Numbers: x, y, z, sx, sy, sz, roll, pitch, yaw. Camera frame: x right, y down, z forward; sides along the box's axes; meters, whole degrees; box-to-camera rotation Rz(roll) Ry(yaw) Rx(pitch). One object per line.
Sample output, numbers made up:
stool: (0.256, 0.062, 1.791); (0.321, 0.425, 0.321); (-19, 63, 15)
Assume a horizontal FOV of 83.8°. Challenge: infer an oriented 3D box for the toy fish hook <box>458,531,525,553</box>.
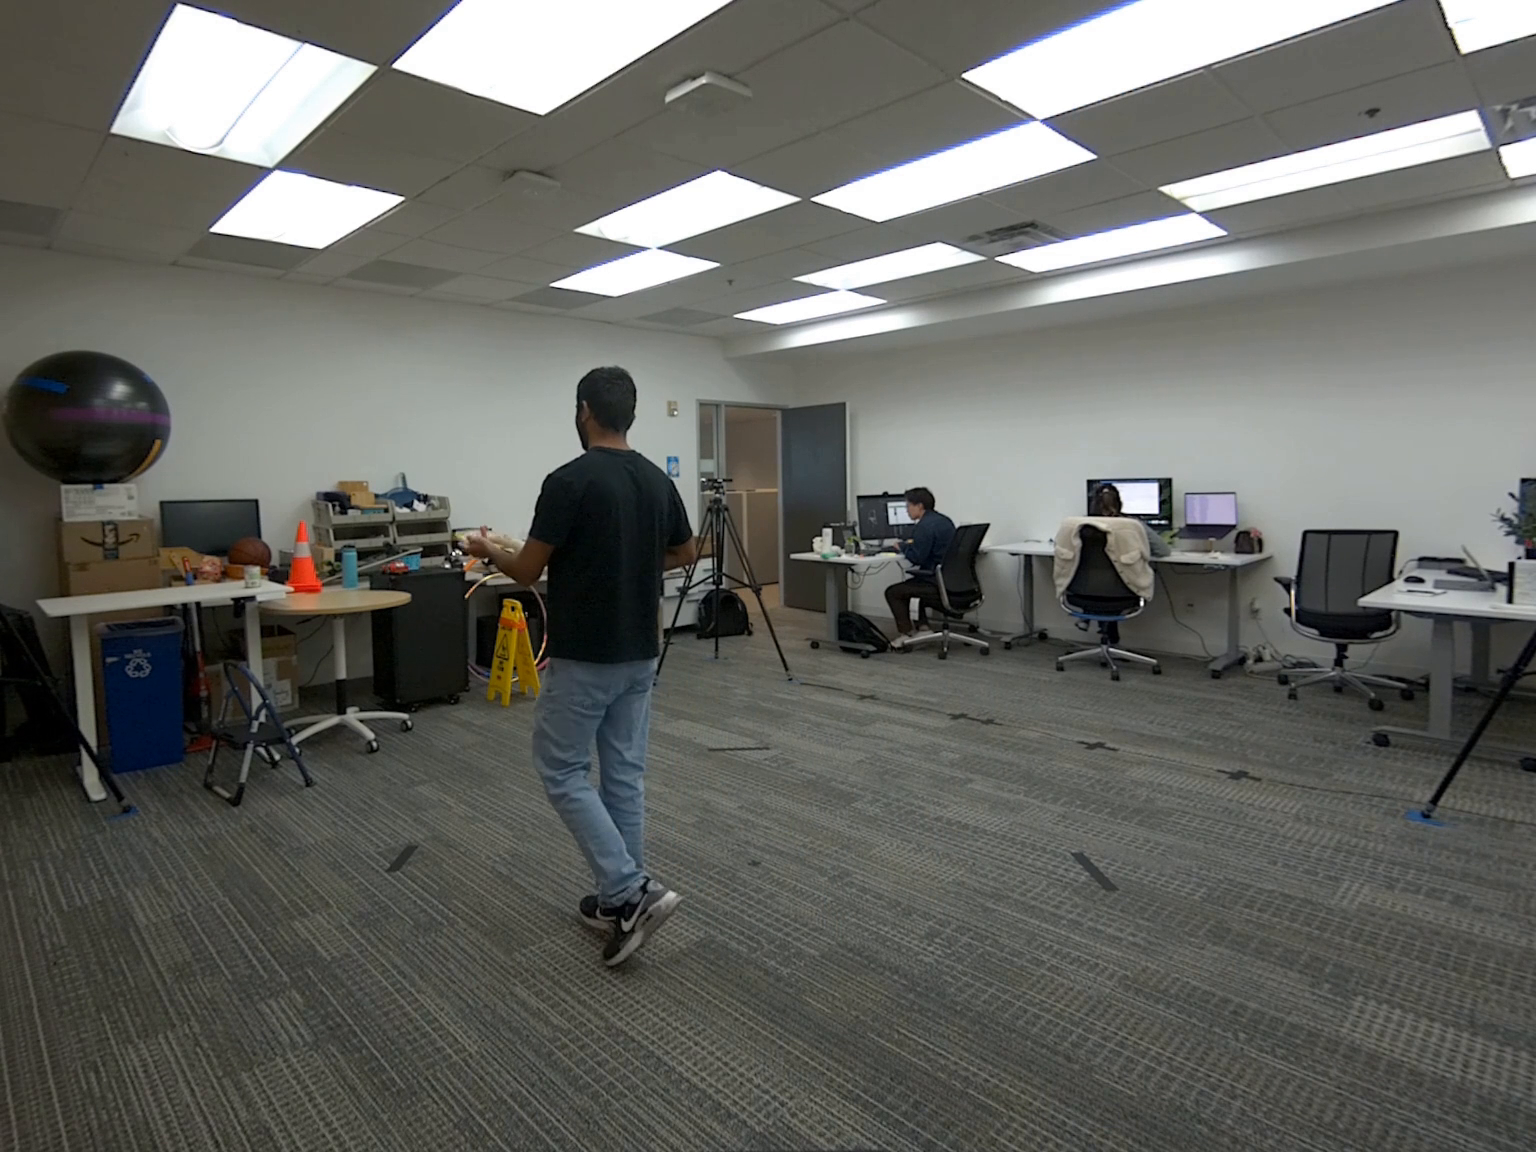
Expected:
toy fish hook: (-0.793, -0.071, 2.784); (0.521, 0.048, 0.220); (17, 16, 26)
